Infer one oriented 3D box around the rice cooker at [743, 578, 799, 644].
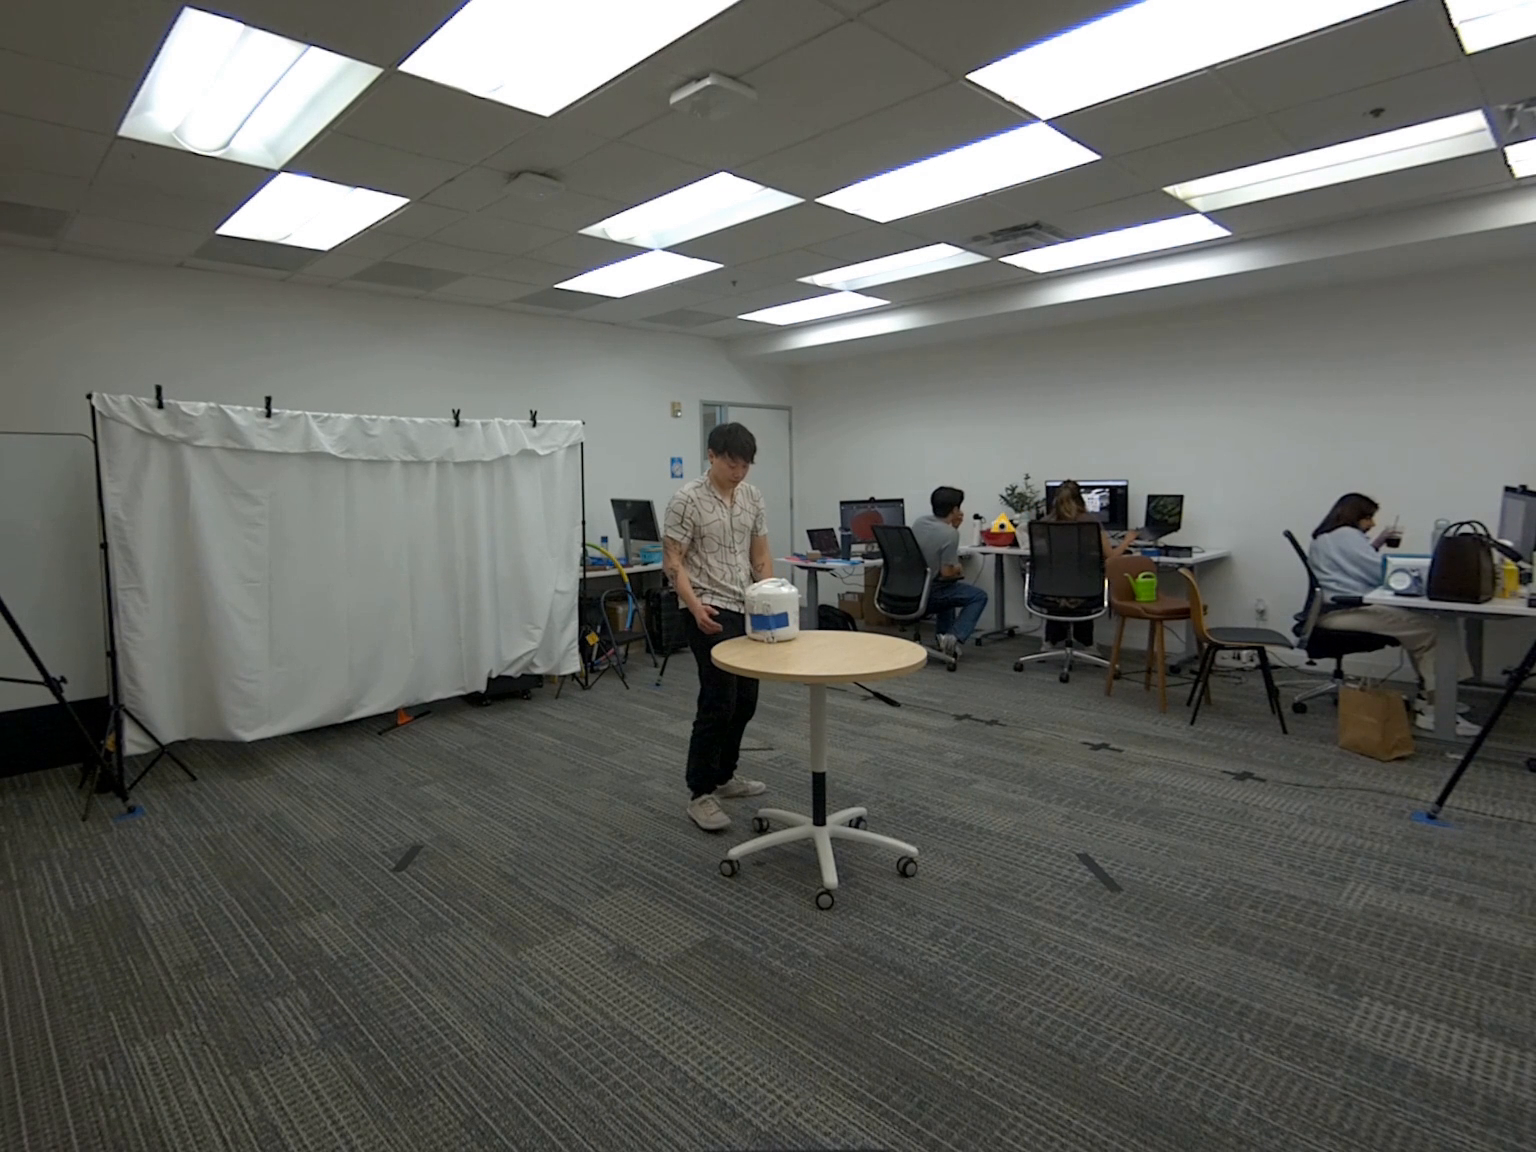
[{"bbox_3d":[0.014,0.126,3.294,0.215,0.232,0.224,-5,7,-36],"label":"rice cooker"}]
